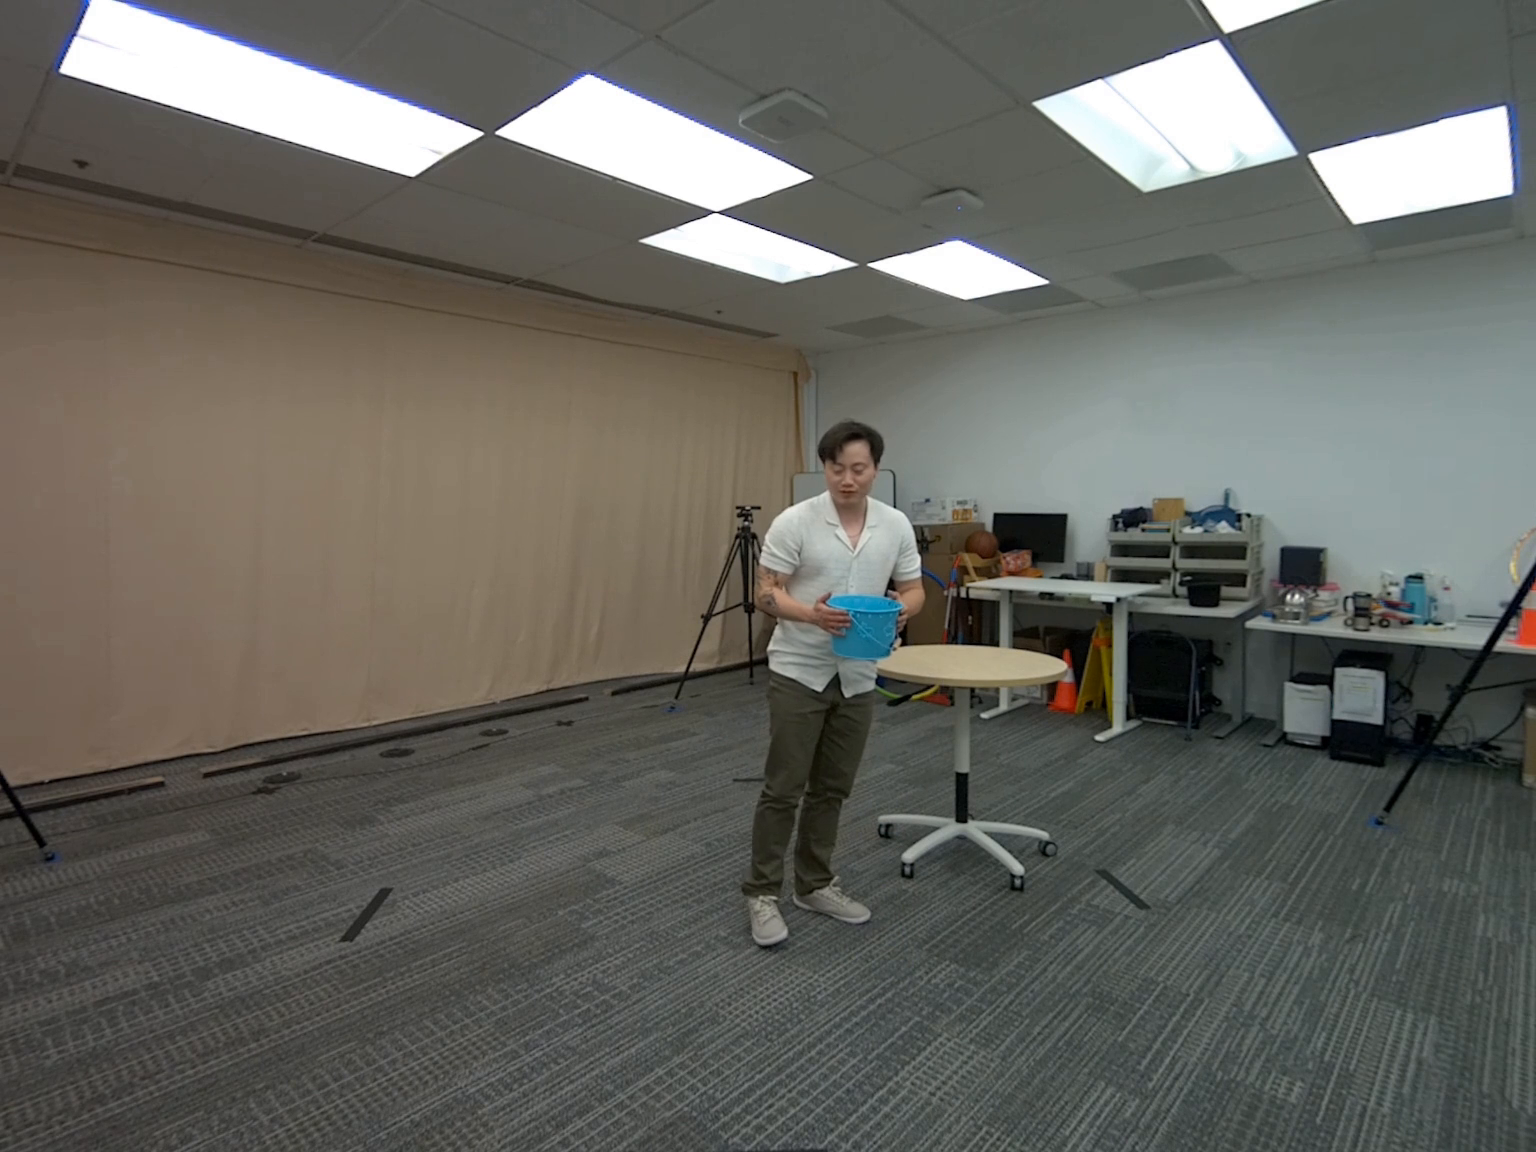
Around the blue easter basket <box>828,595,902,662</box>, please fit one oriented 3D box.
[{"bbox_3d":[0.295,0.158,2.554,0.243,0.155,0.245,0,9,-2],"label":"blue easter basket"}]
